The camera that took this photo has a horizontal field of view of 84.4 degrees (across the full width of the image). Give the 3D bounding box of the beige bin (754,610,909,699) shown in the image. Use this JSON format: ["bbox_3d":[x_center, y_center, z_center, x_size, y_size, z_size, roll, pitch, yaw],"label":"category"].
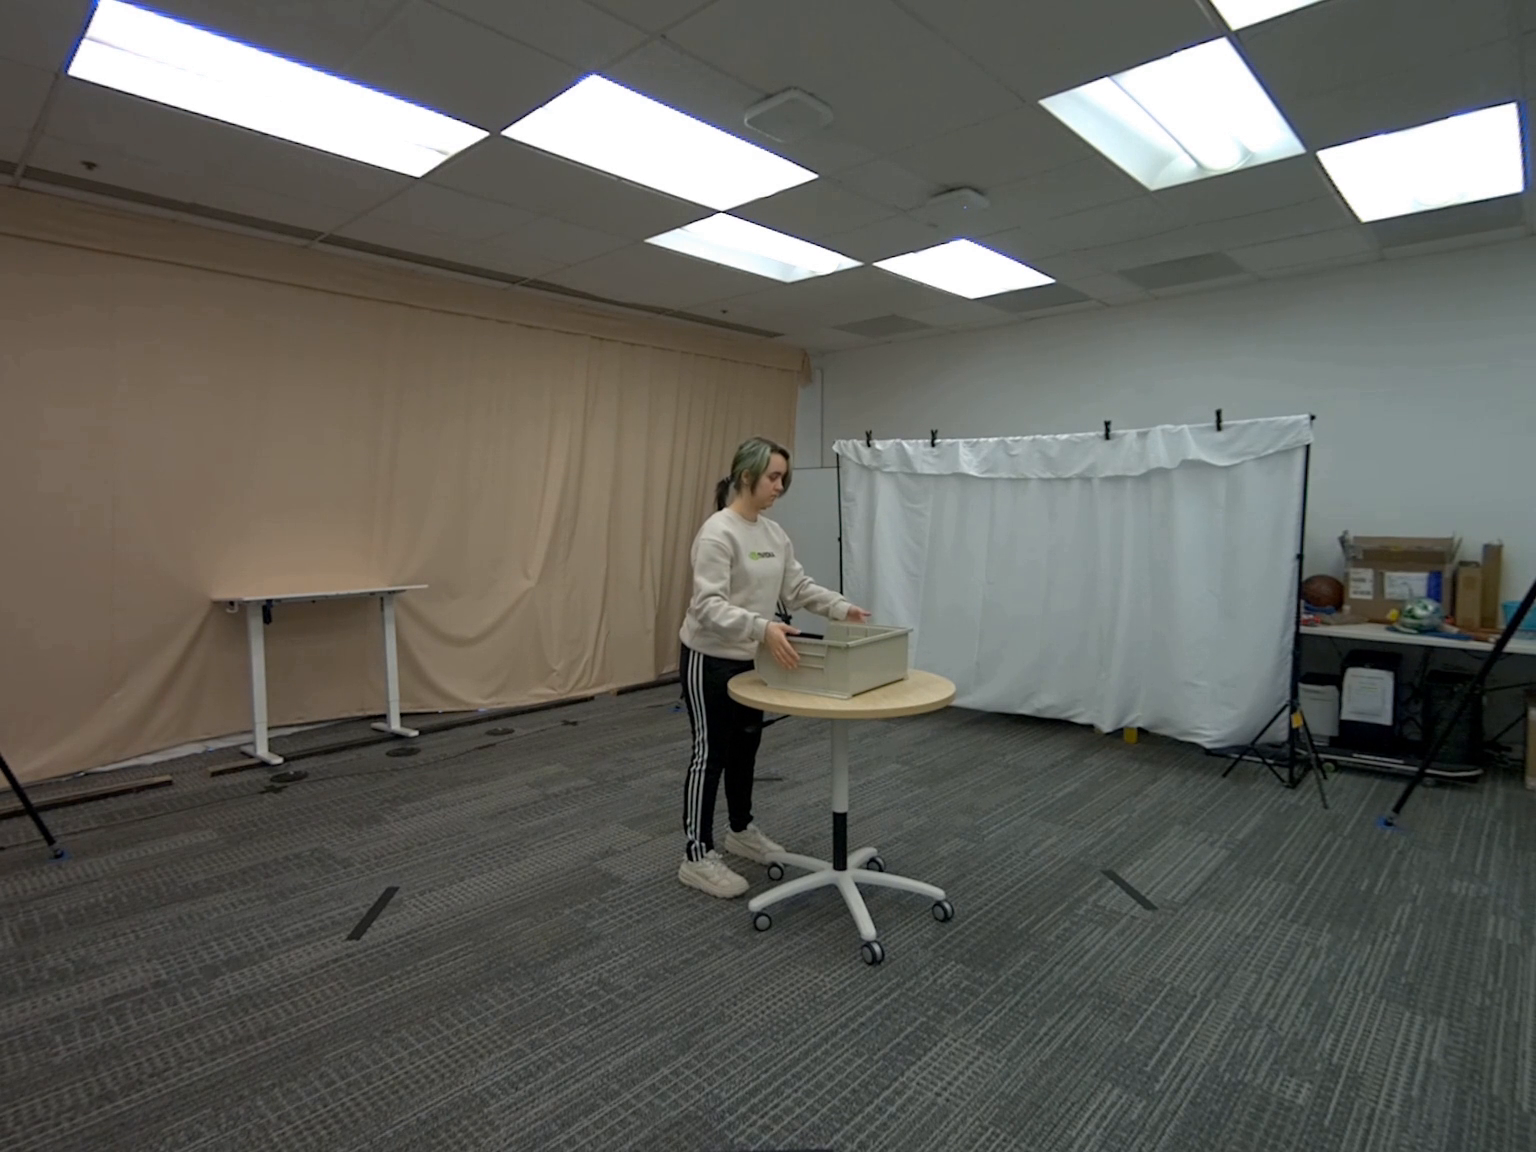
[{"bbox_3d":[0.229,0.277,2.887,0.390,0.188,0.410,4,6,39],"label":"beige bin"}]
